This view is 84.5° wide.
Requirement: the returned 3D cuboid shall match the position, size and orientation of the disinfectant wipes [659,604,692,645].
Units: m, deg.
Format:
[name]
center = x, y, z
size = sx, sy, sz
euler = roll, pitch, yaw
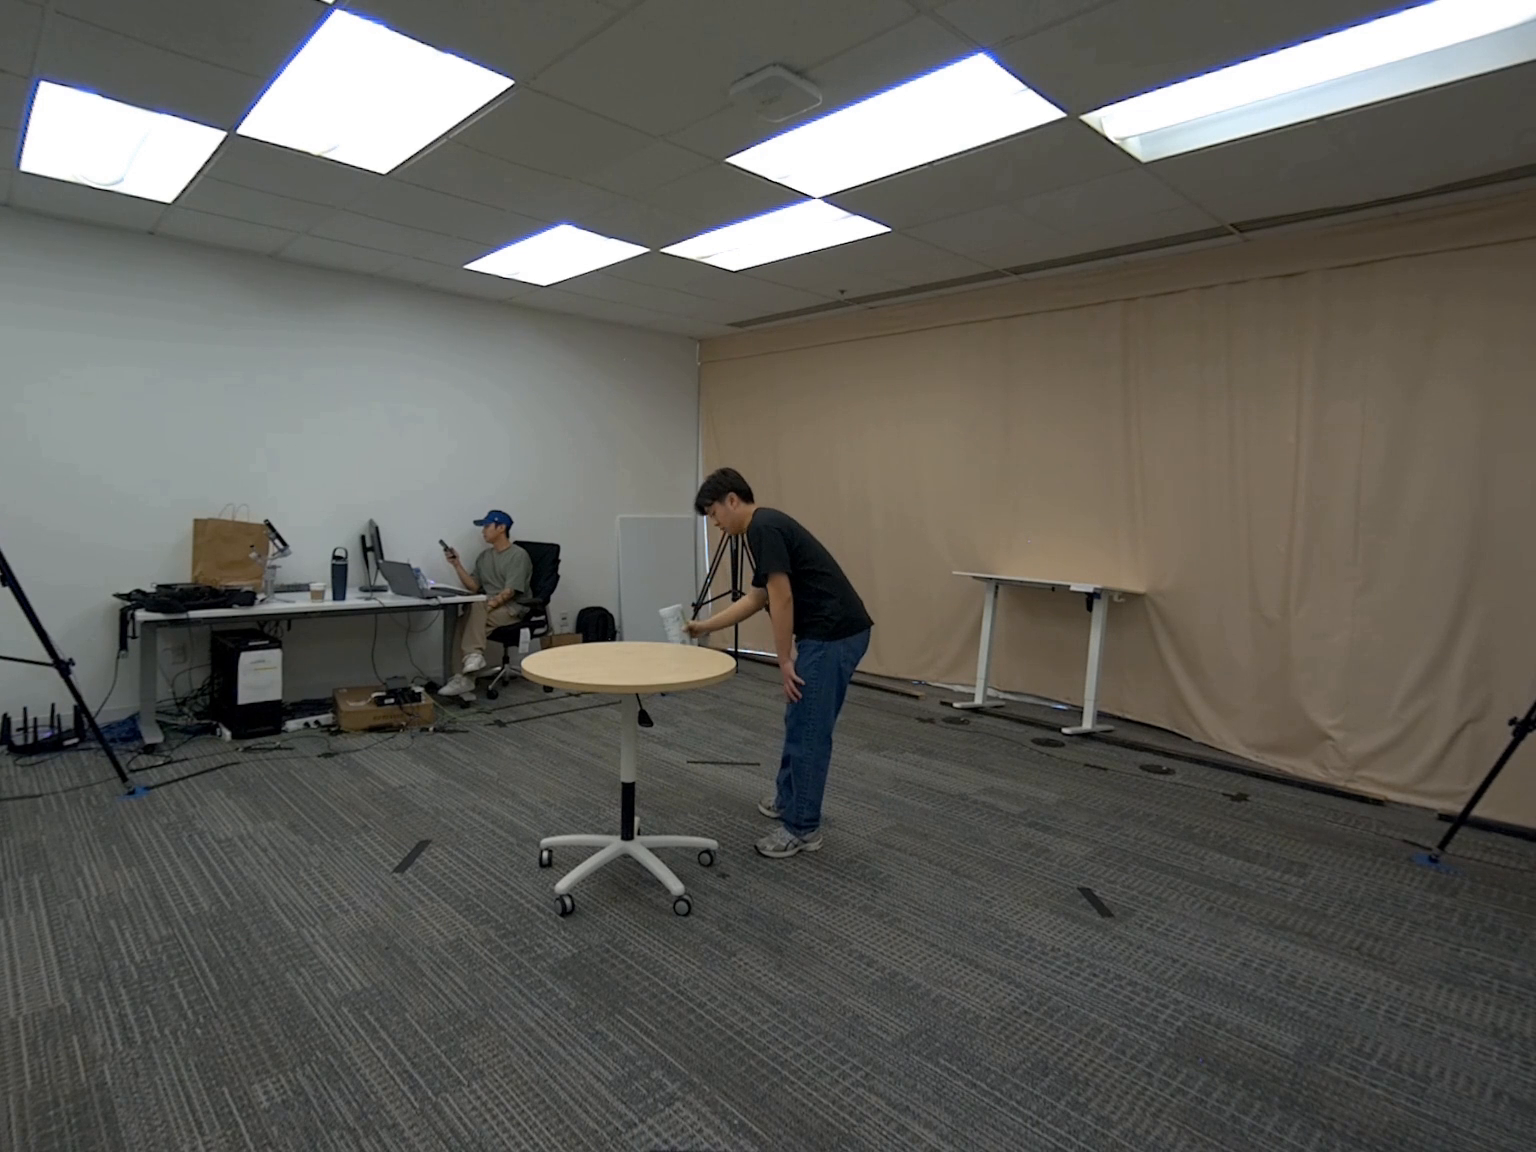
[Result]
[disinfectant wipes]
center = -0.407, 0.243, 3.740
size = 0.118, 0.218, 0.117
euler = -16, -2, -2
